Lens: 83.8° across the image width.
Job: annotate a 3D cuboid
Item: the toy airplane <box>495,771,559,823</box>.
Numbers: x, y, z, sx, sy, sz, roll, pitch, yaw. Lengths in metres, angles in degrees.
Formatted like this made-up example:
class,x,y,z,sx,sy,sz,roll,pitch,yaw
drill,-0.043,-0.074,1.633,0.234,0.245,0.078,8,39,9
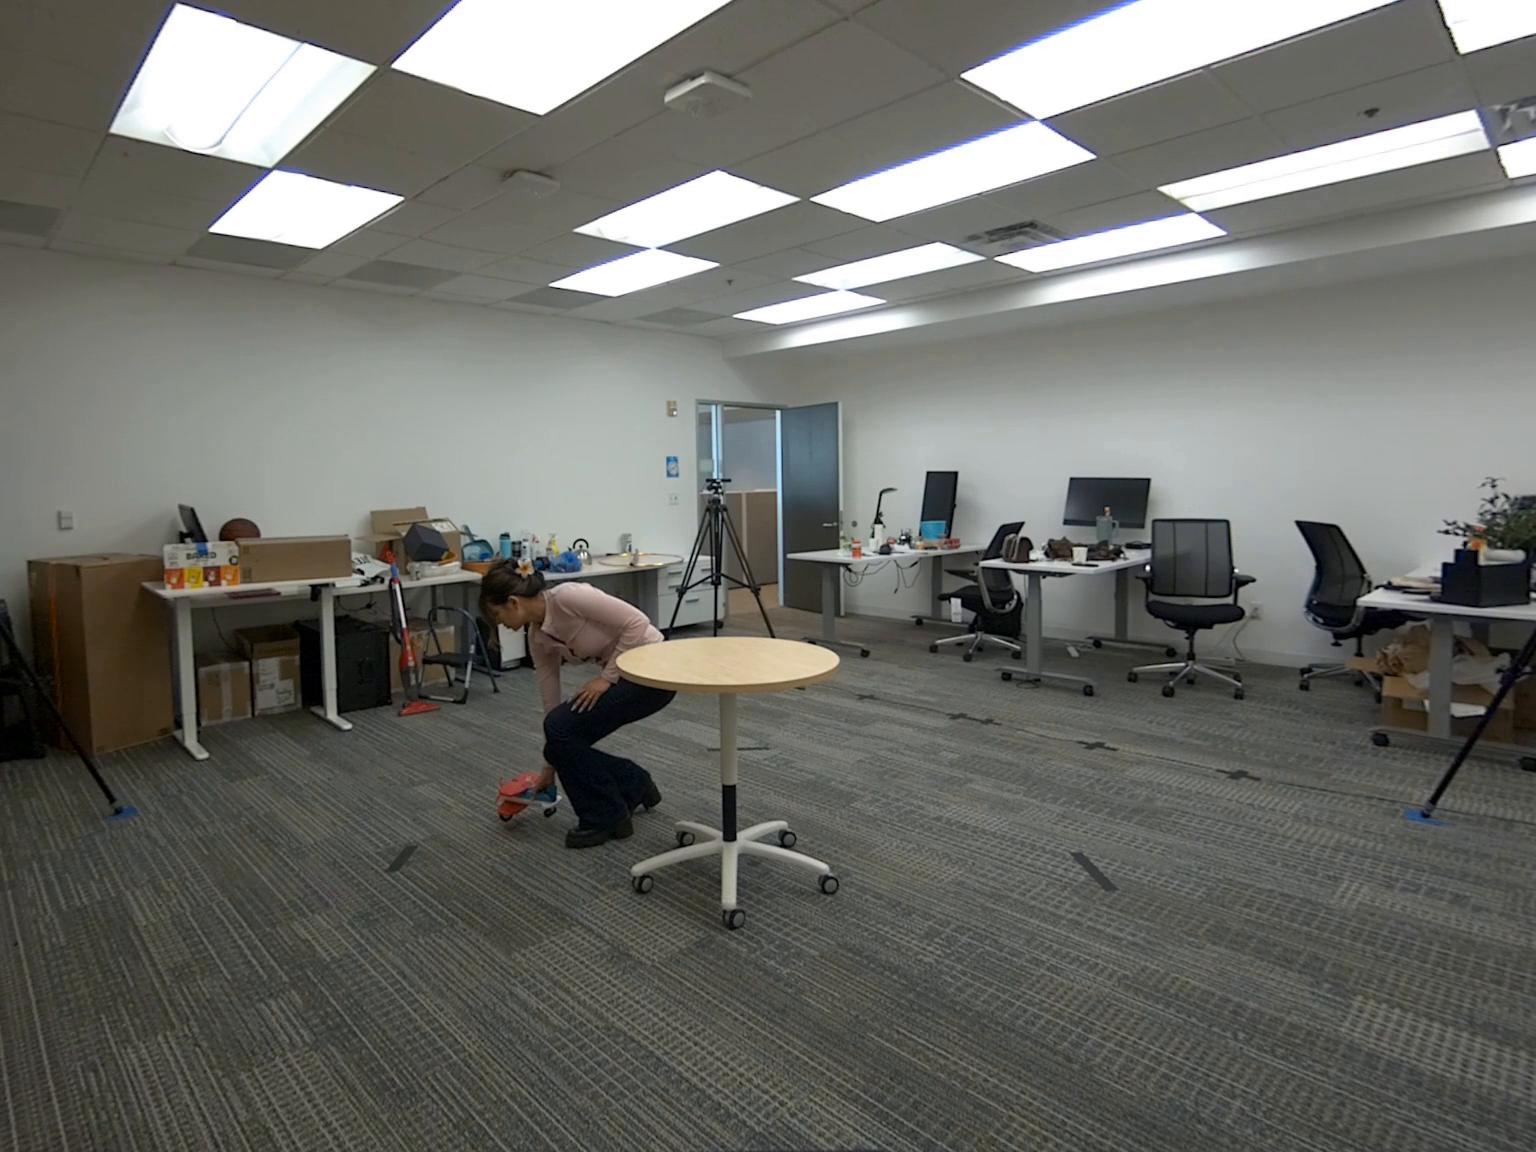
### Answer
class,x,y,z,sx,sy,sz,roll,pitch,yaw
toy airplane,-0.976,0.907,3.514,0.255,0.156,0.256,-9,6,-19
